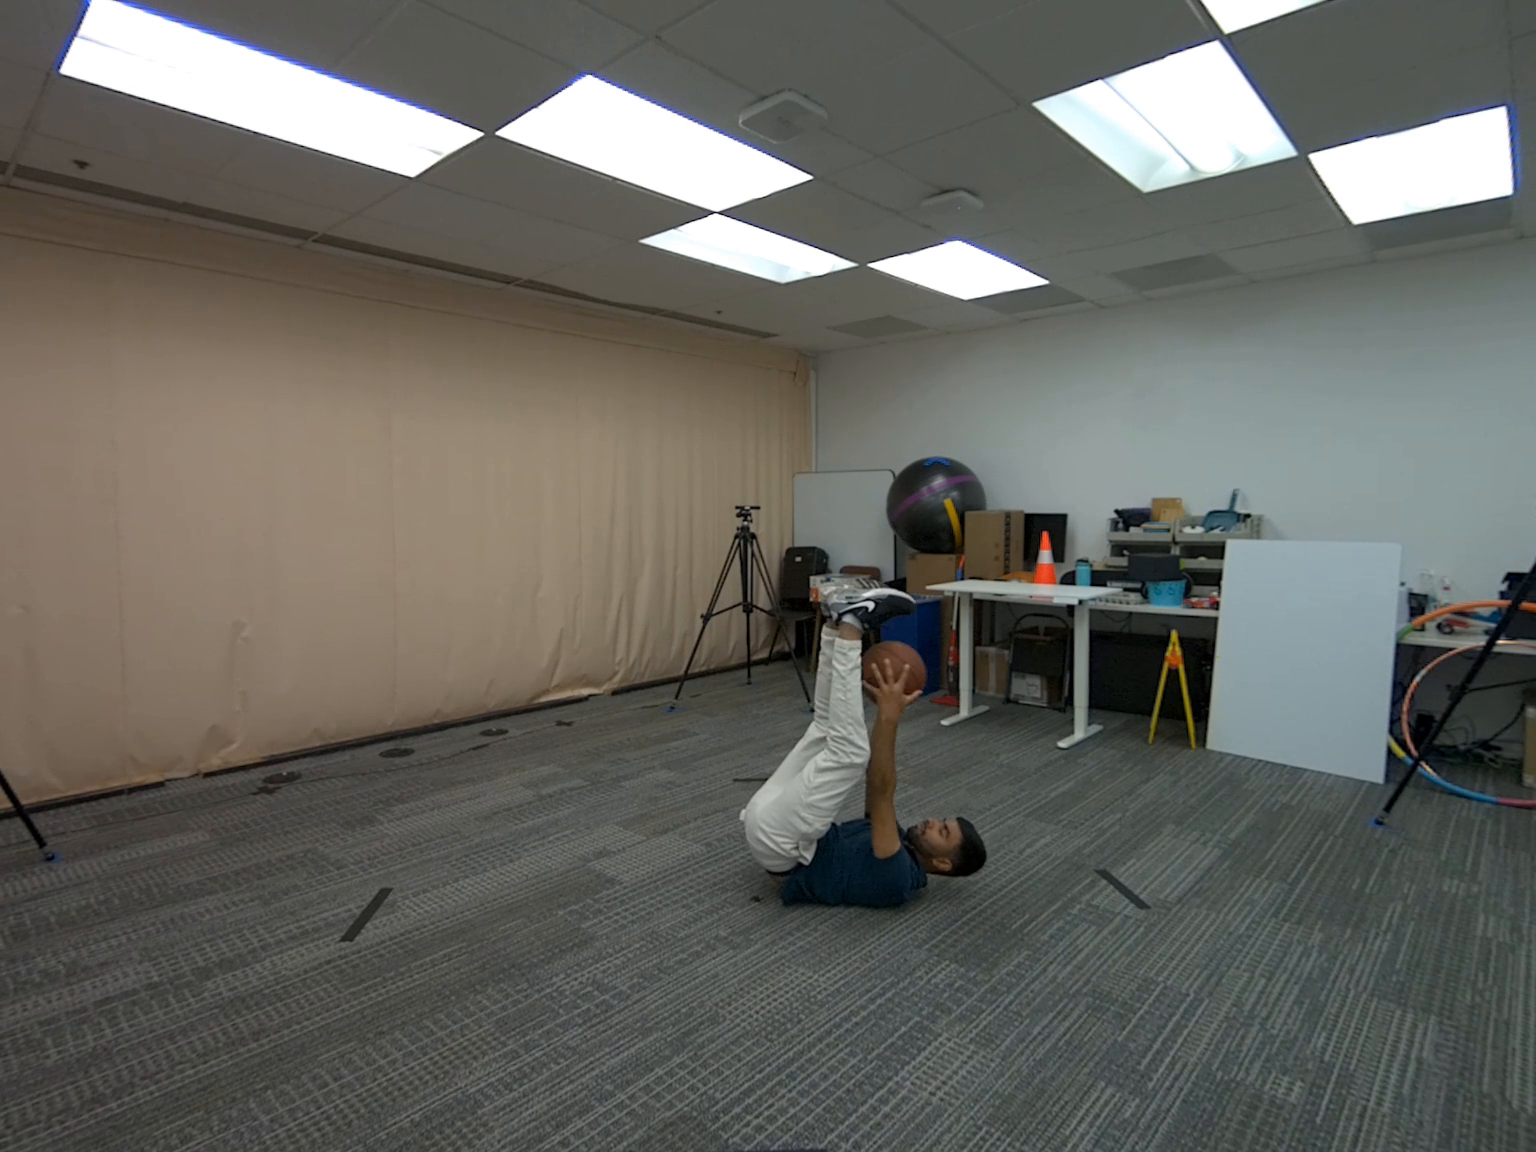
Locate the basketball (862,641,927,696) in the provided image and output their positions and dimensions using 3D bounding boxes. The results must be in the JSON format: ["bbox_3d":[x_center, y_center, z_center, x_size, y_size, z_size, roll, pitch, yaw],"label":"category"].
[{"bbox_3d":[0.431,0.344,3.001,0.236,0.235,0.237,0,4,-2],"label":"basketball"}]
